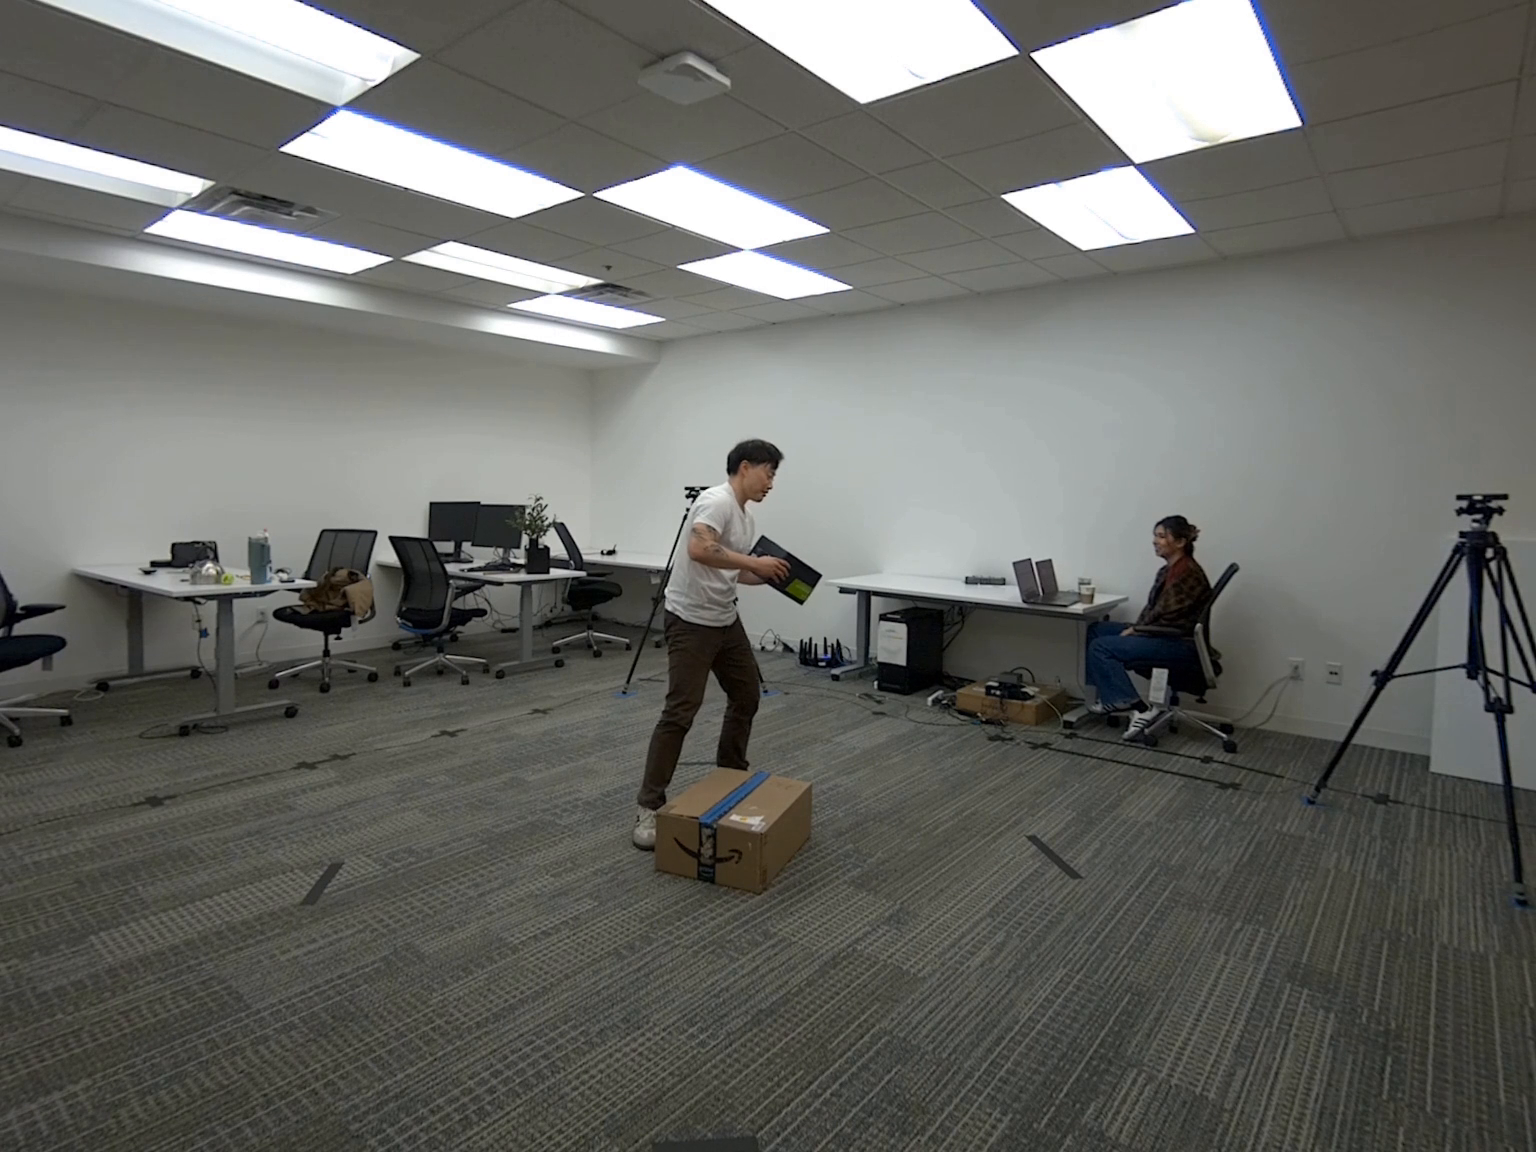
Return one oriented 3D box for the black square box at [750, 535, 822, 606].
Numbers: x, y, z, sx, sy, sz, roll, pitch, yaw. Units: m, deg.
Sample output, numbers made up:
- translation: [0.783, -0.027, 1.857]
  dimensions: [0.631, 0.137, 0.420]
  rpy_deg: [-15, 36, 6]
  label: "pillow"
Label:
- translation: [0.053, -0.033, 3.567]
  dimensions: [0.219, 0.156, 0.226]
  rpy_deg: [32, 4, -35]
  label: "black square box"
